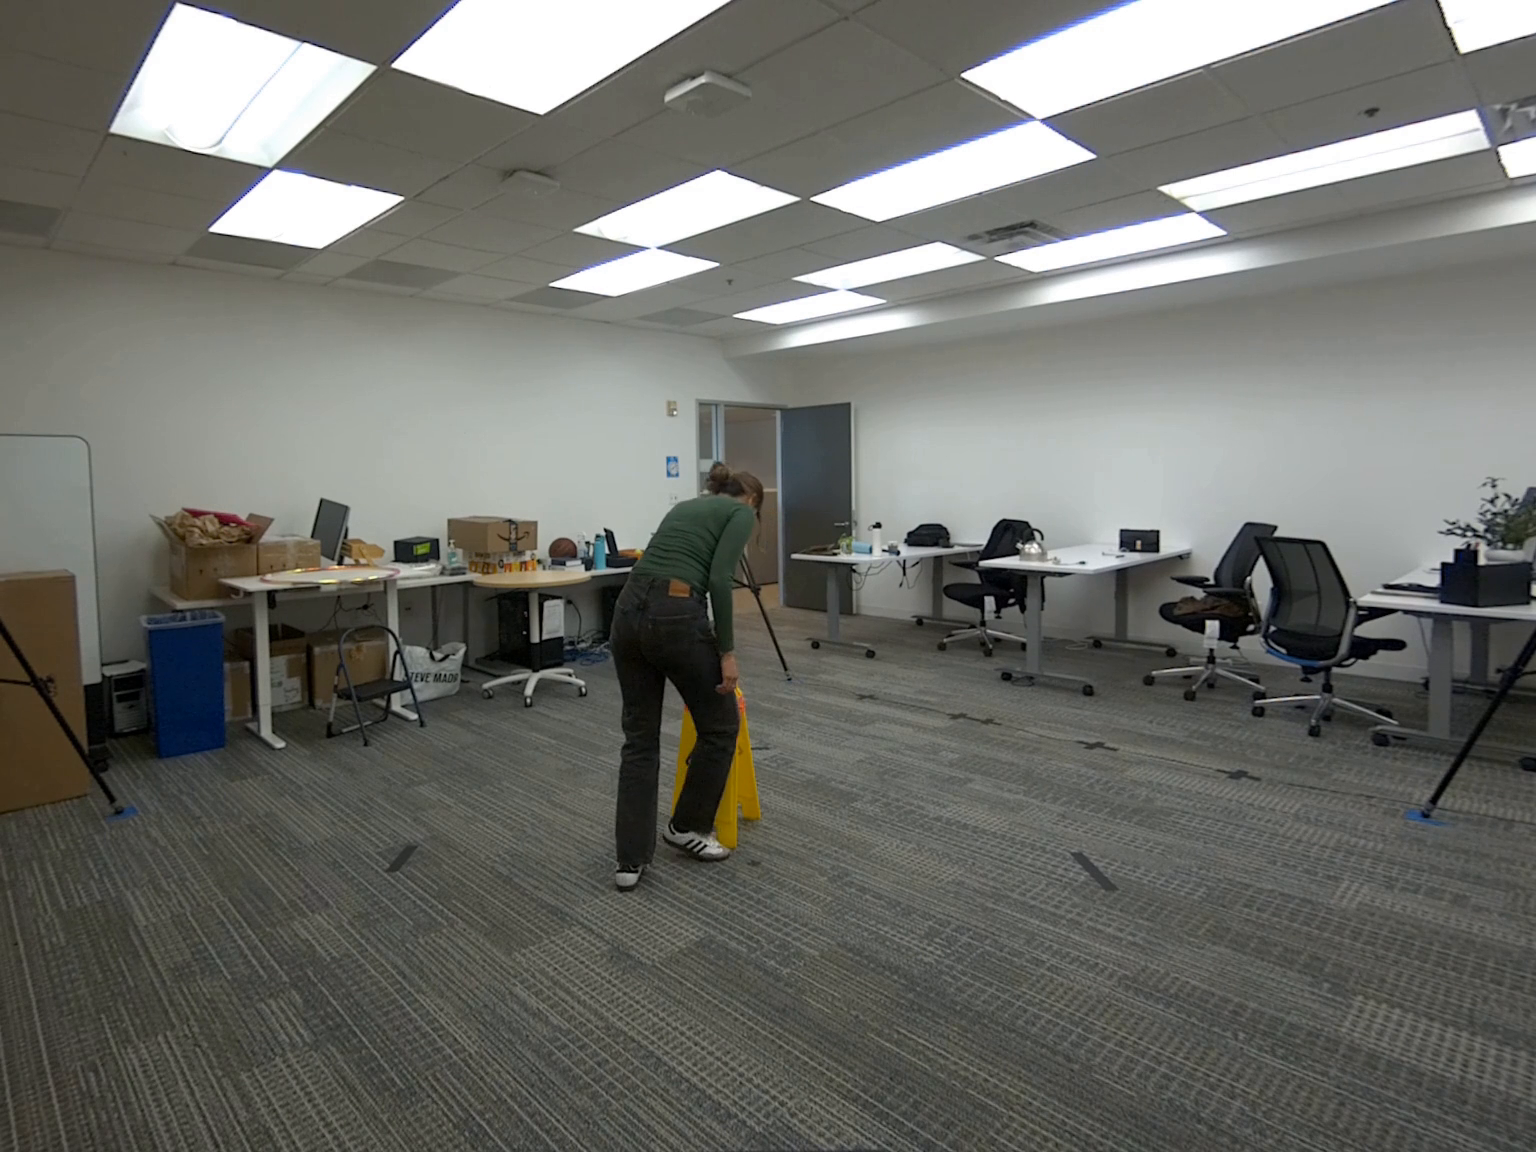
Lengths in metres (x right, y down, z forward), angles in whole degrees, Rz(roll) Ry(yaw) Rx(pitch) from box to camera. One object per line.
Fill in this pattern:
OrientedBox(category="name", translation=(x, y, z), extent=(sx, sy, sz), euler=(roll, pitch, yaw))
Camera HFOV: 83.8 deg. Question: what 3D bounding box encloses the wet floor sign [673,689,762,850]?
OrientedBox(category="wet floor sign", translation=(-0.214, 0.689, 3.399), extent=(0.288, 0.644, 0.285), euler=(0, 4, 20))
